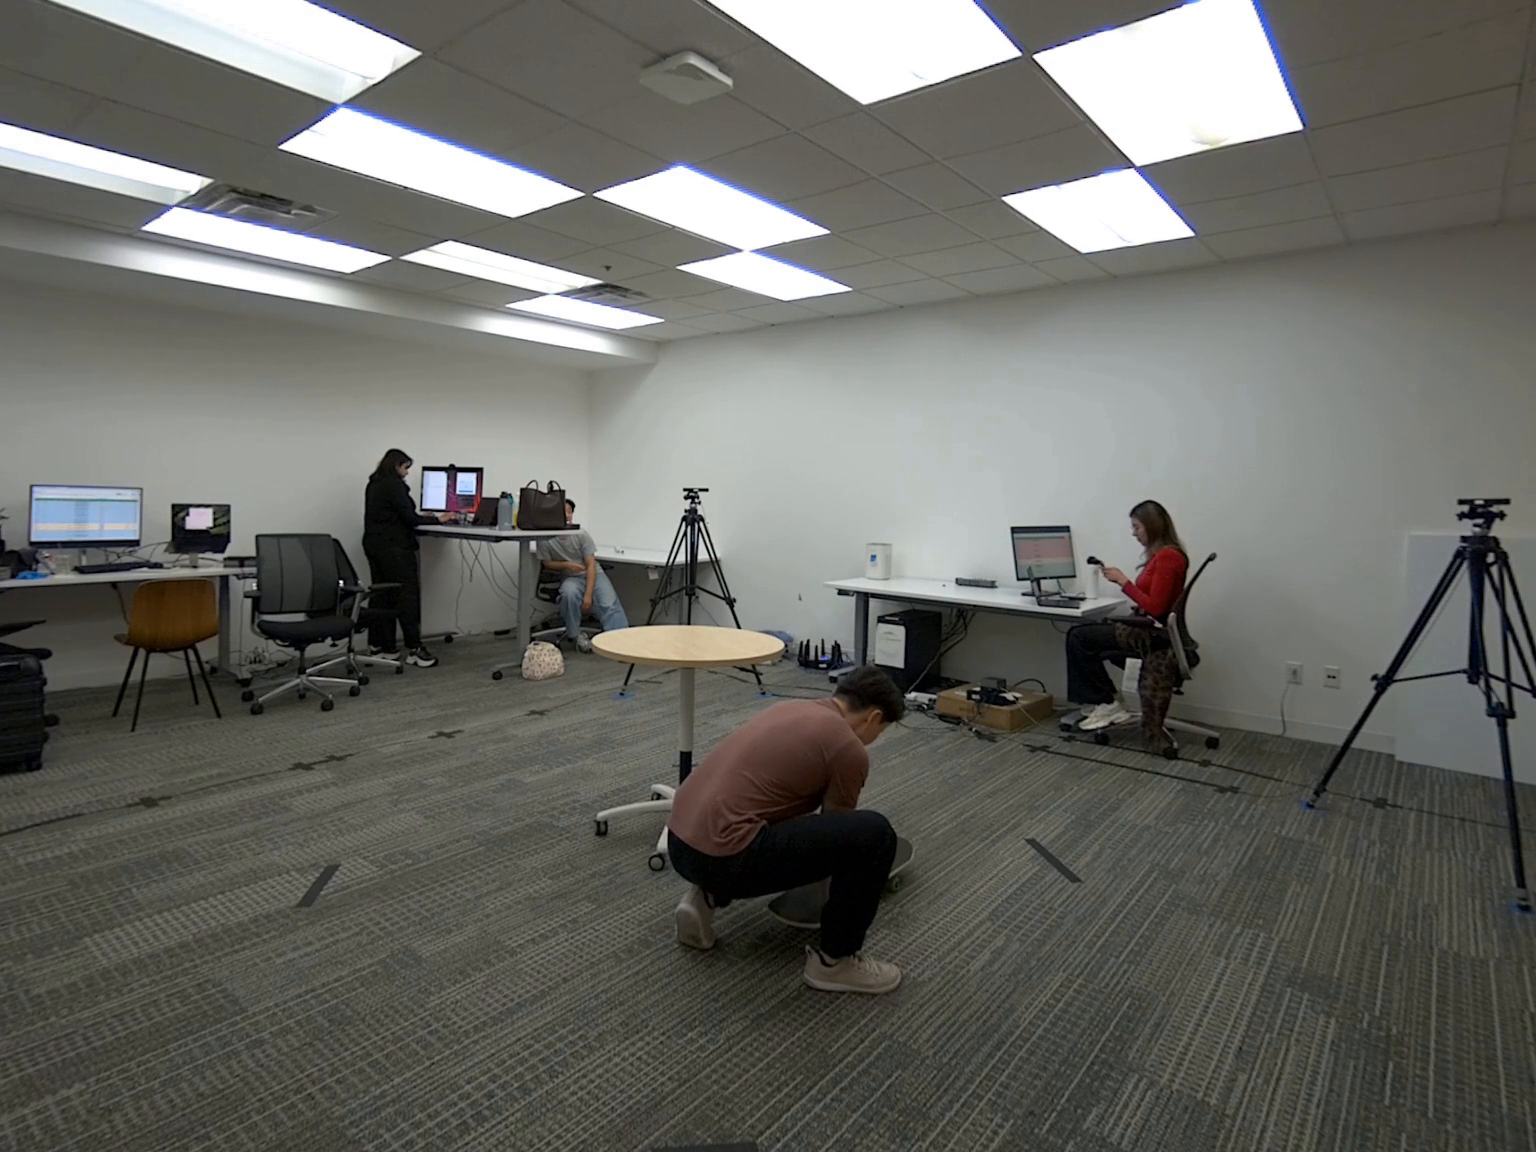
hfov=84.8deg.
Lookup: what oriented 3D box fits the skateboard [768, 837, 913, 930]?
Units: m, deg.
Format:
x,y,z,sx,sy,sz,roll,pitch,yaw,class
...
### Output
x,y,z,sx,sy,sz,roll,pitch,yaw,class
0.262,1.048,2.867,0.200,0.109,0.764,8,10,35,skateboard
